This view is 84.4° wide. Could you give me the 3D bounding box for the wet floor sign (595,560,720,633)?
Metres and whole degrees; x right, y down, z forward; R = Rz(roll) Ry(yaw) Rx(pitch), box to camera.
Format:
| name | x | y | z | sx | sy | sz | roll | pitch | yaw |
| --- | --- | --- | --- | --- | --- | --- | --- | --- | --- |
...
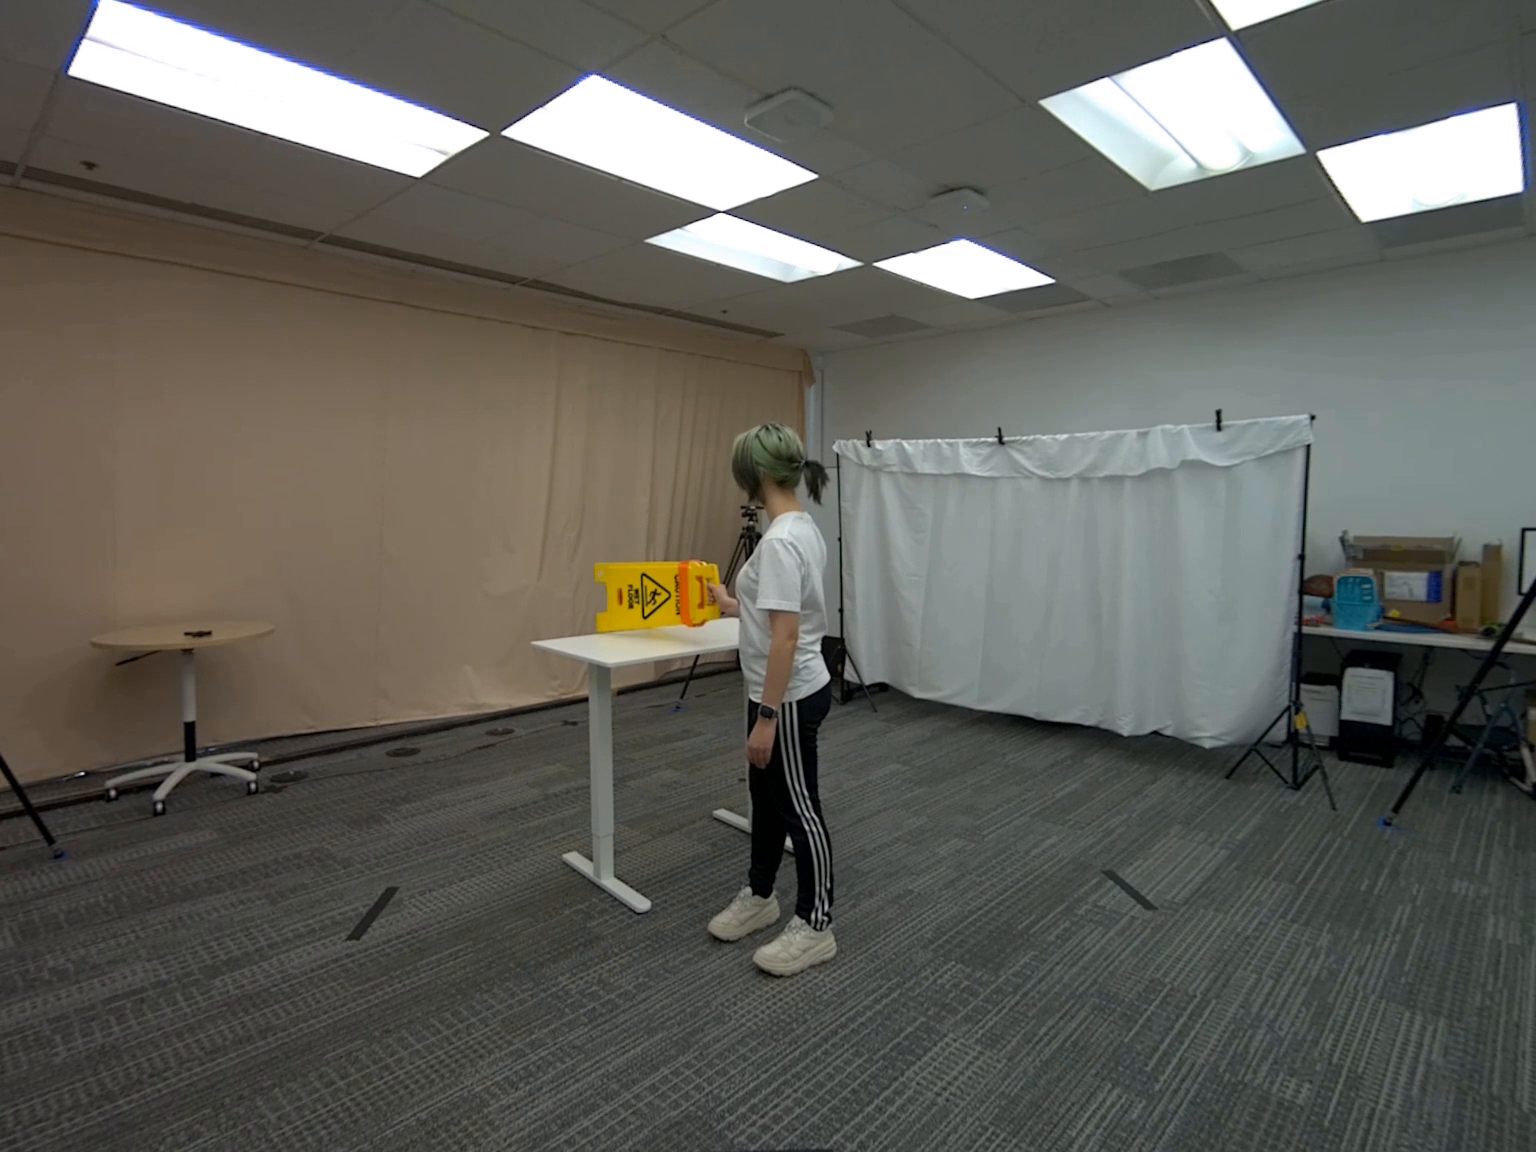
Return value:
| name | x | y | z | sx | sy | sz | roll | pitch | yaw |
| --- | --- | --- | --- | --- | --- | --- | --- | --- | --- |
| wet floor sign | -0.391 | 0.074 | 3.254 | 0.281 | 0.283 | 0.665 | -1 | -2 | -40 |
